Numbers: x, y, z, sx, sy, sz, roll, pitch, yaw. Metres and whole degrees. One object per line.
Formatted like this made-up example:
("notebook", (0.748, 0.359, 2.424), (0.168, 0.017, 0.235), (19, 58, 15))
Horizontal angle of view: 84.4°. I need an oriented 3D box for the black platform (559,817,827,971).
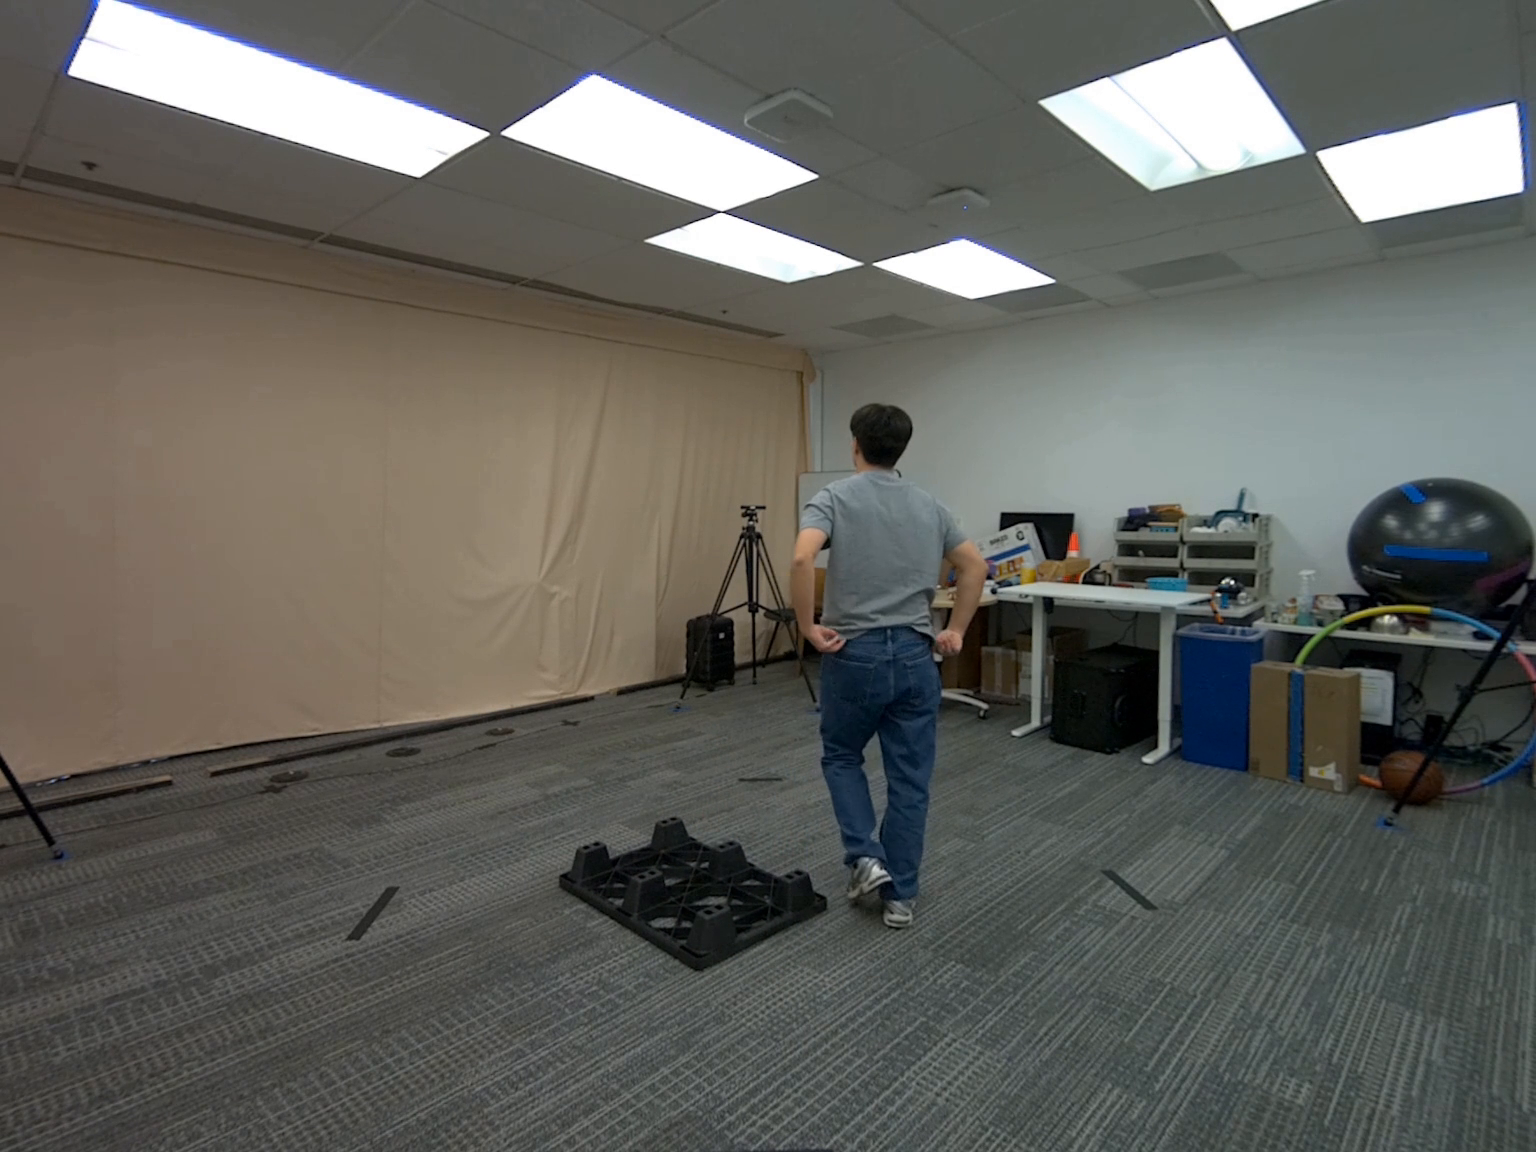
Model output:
("black platform", (-0.284, 1.079, 2.996), (0.586, 0.143, 0.832), (-4, 6, -44))
